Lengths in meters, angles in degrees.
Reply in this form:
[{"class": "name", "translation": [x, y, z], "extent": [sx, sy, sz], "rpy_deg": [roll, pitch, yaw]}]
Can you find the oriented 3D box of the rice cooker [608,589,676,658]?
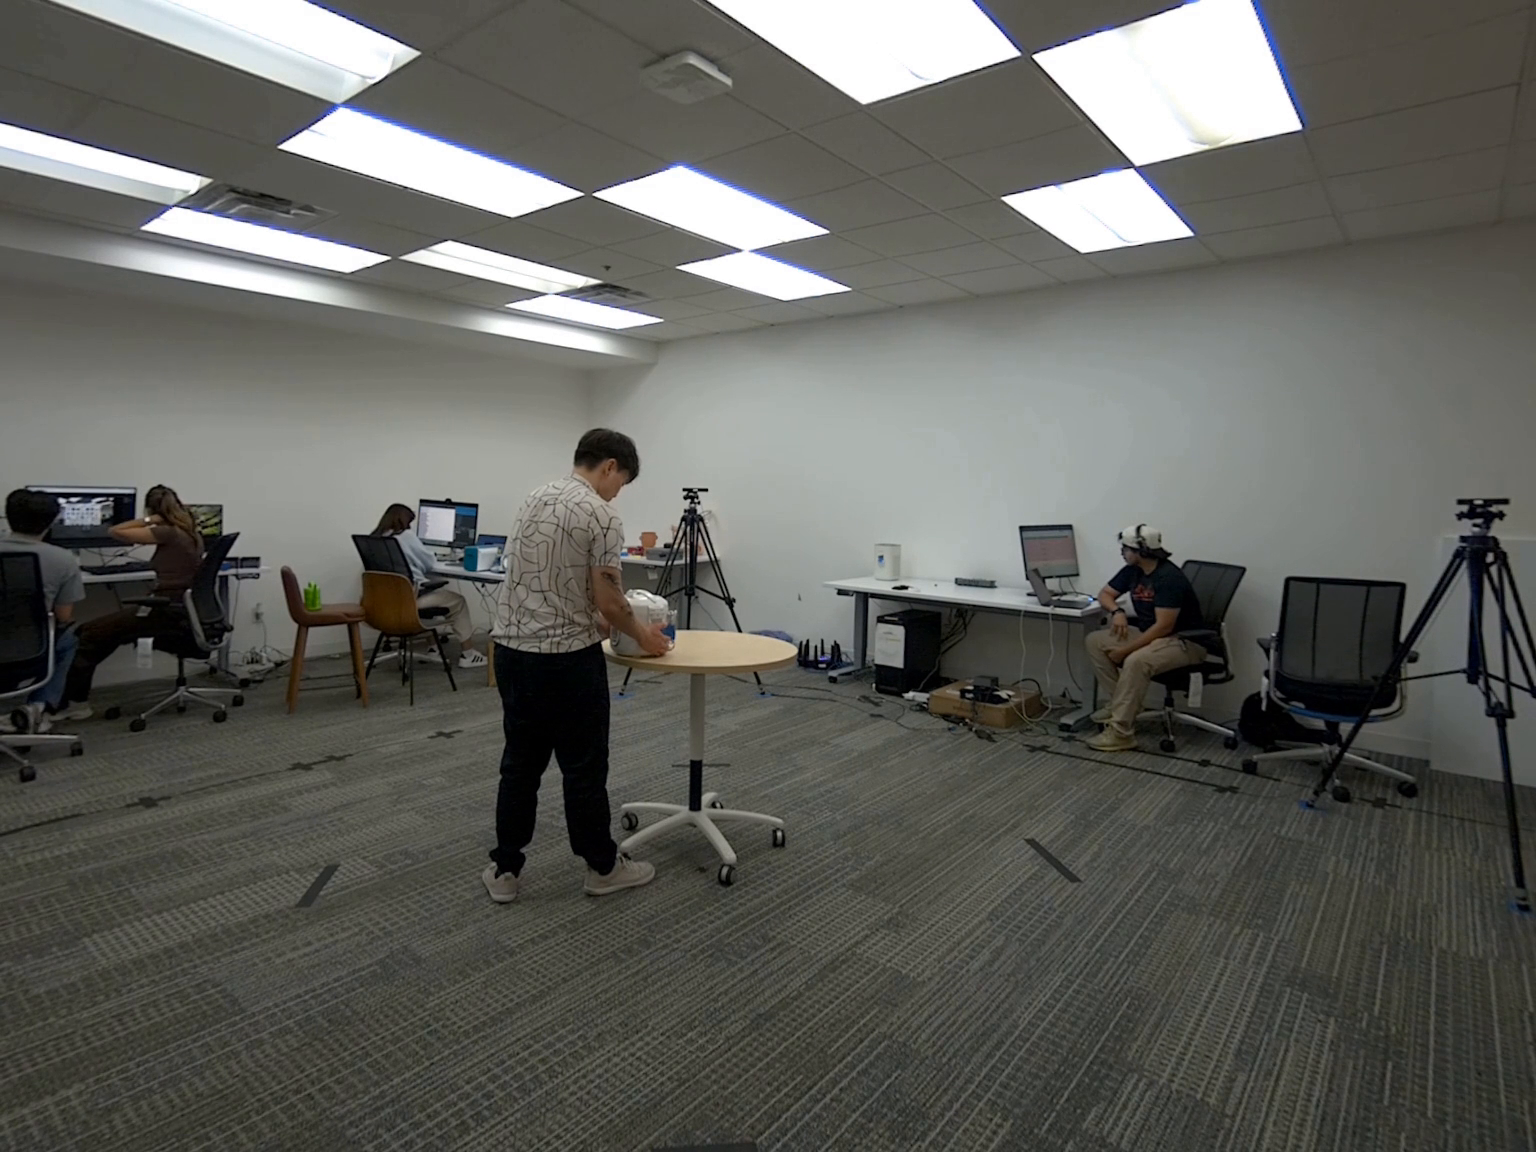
[{"class": "rice cooker", "translation": [-0.476, 0.167, 3.111], "extent": [0.211, 0.232, 0.228], "rpy_deg": [-2, 4, -44]}]
